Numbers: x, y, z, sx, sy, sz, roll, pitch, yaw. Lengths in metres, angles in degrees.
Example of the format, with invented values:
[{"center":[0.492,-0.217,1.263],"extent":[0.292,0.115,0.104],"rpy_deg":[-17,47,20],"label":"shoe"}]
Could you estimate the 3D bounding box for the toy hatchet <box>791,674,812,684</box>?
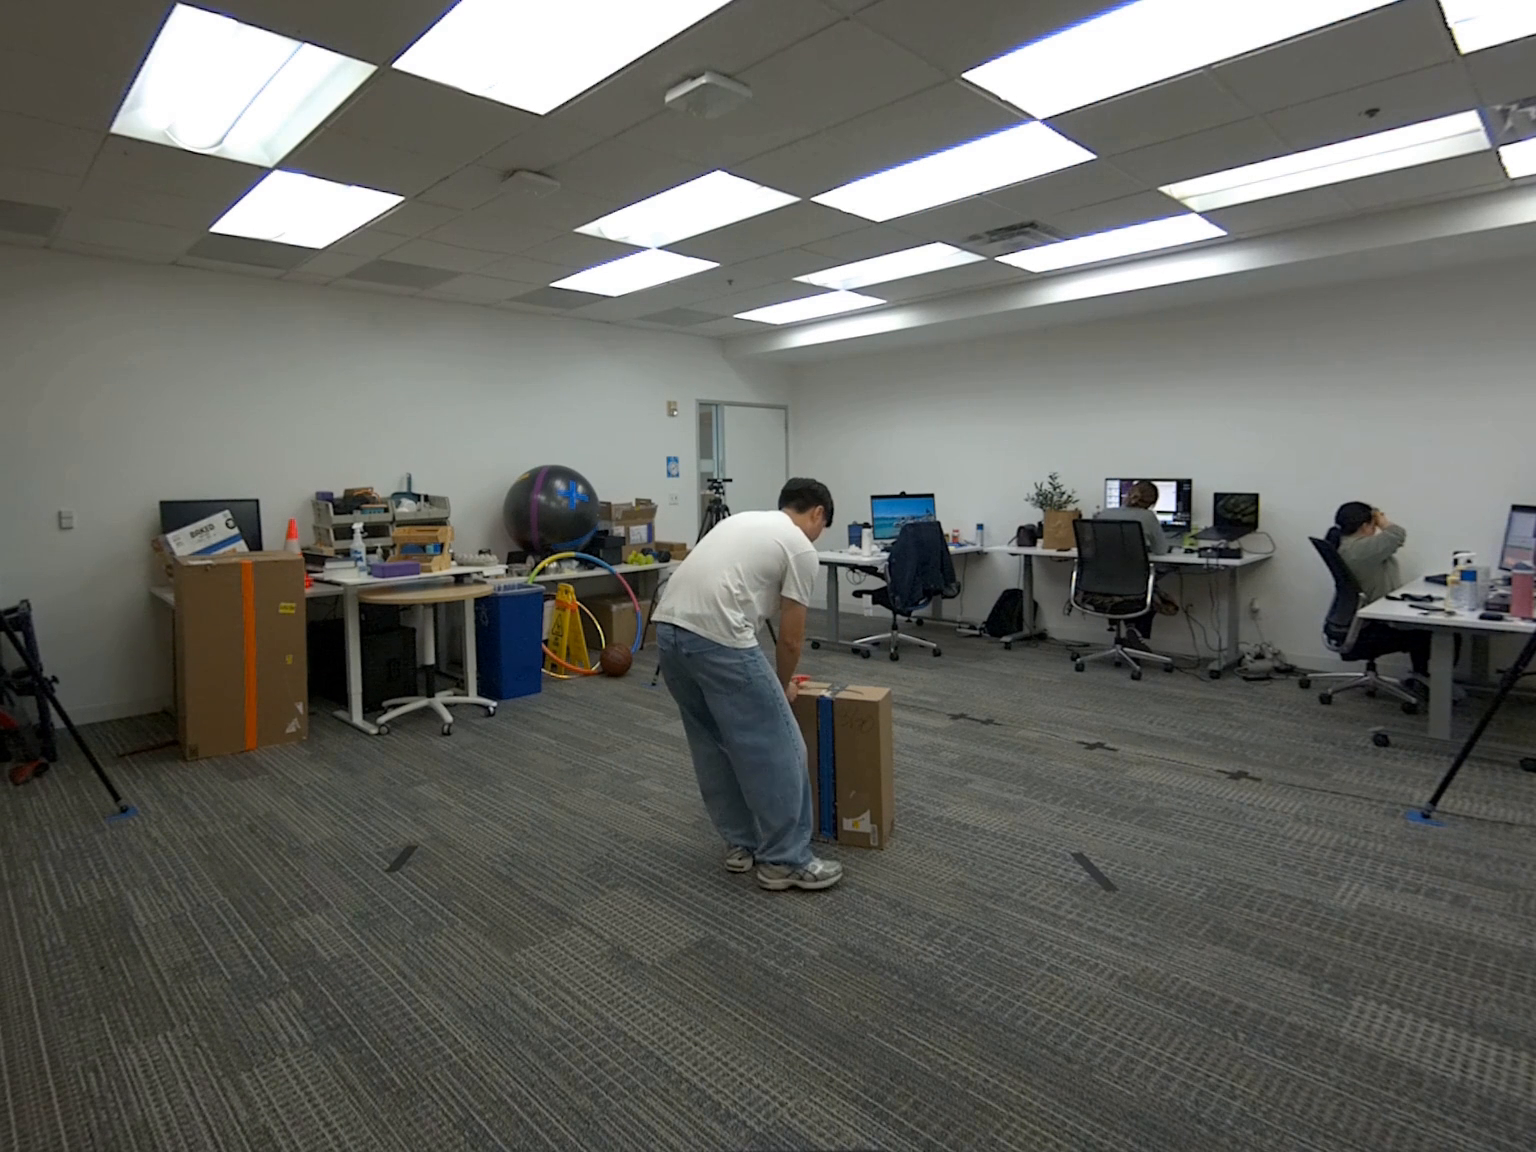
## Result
[{"center":[0.051,0.440,3.337],"extent":[0.134,0.029,0.264],"rpy_deg":[-1,10,37],"label":"toy hatchet"}]
